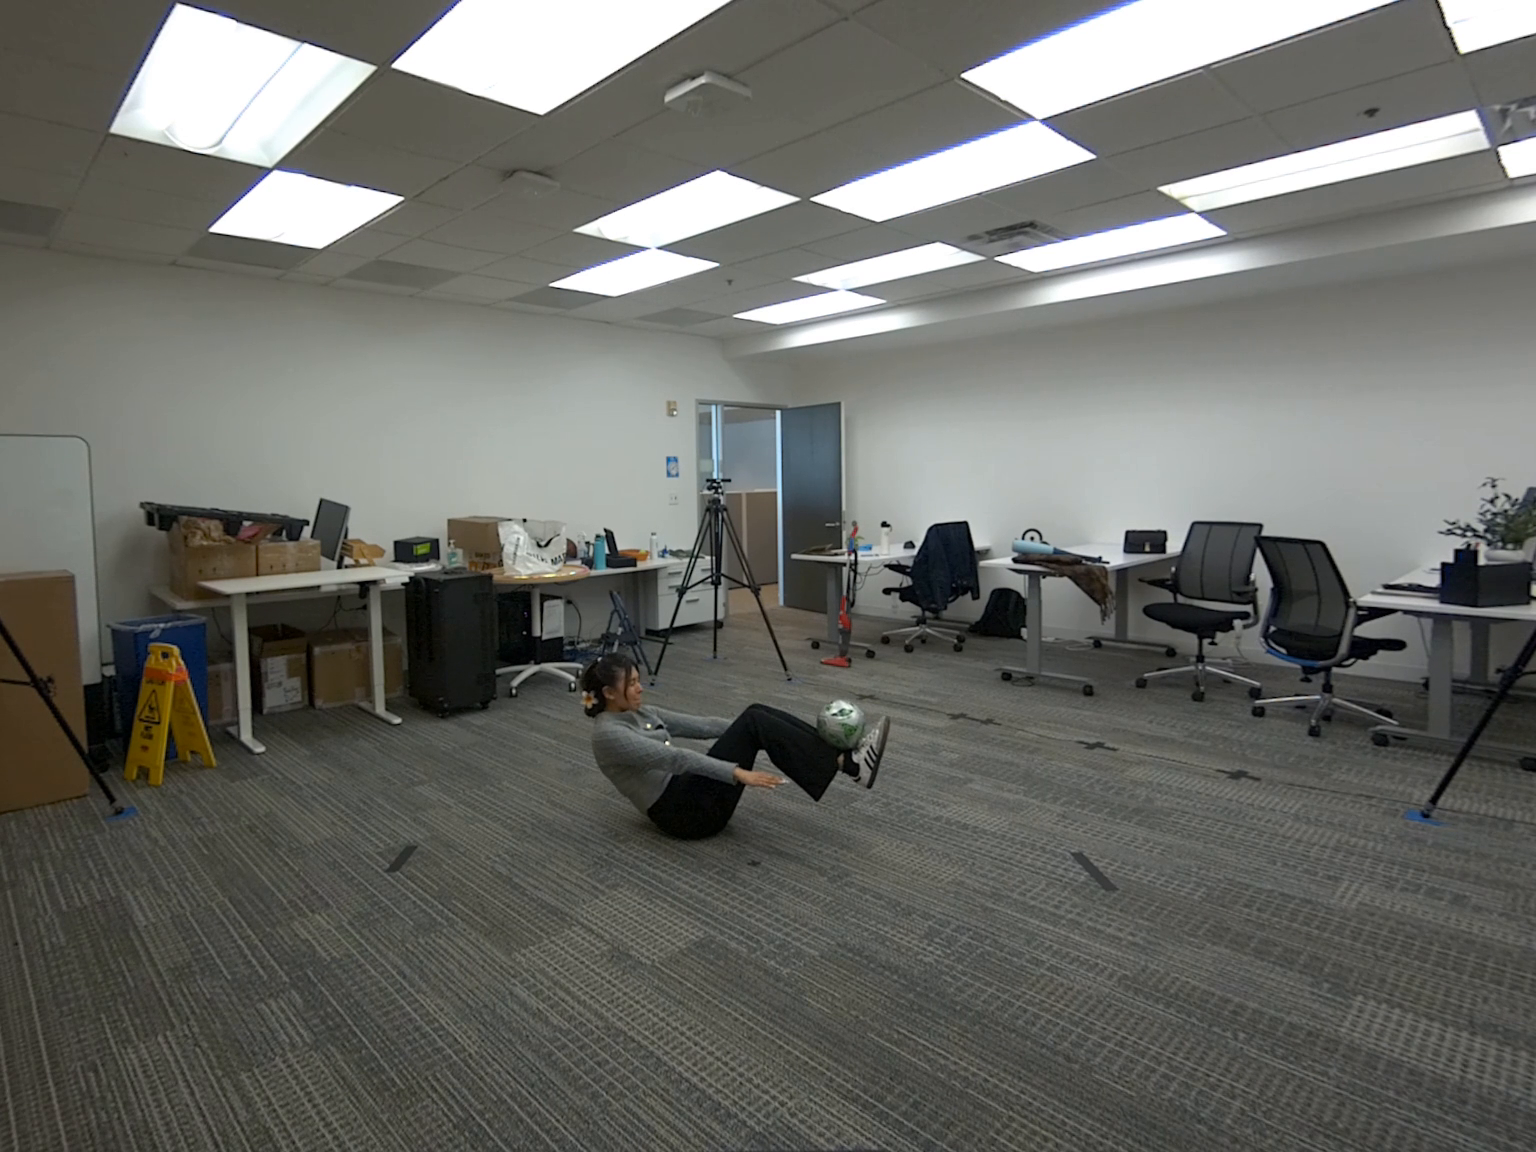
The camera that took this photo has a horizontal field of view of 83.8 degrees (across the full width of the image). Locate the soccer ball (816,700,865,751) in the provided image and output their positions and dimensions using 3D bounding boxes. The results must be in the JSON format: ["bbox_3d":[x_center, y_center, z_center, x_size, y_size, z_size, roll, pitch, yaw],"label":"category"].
[{"bbox_3d":[0.279,0.569,3.264,0.187,0.187,0.188,-1,5,-2],"label":"soccer ball"}]
